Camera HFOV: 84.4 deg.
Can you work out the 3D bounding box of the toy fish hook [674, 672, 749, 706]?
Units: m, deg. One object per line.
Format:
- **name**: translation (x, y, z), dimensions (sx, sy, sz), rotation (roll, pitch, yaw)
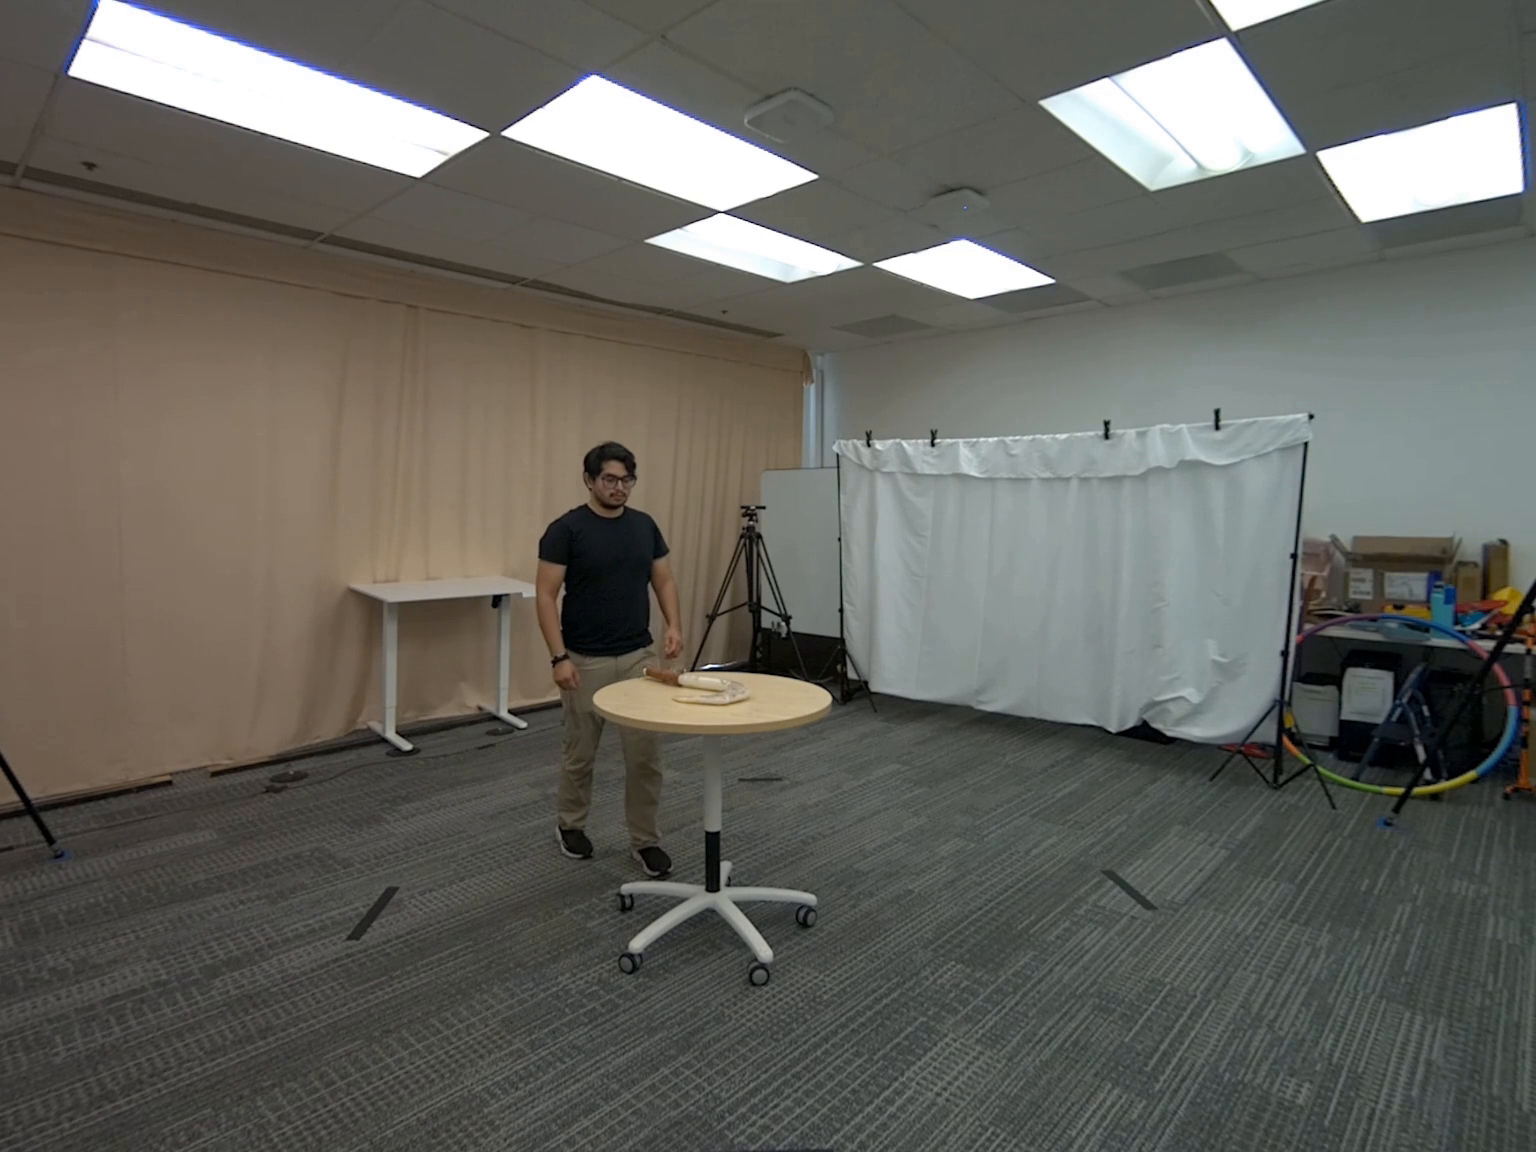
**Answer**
- **toy fish hook**: translation (-0.280, 0.358, 2.770), dimensions (0.524, 0.048, 0.217), rotation (4, 5, 43)
